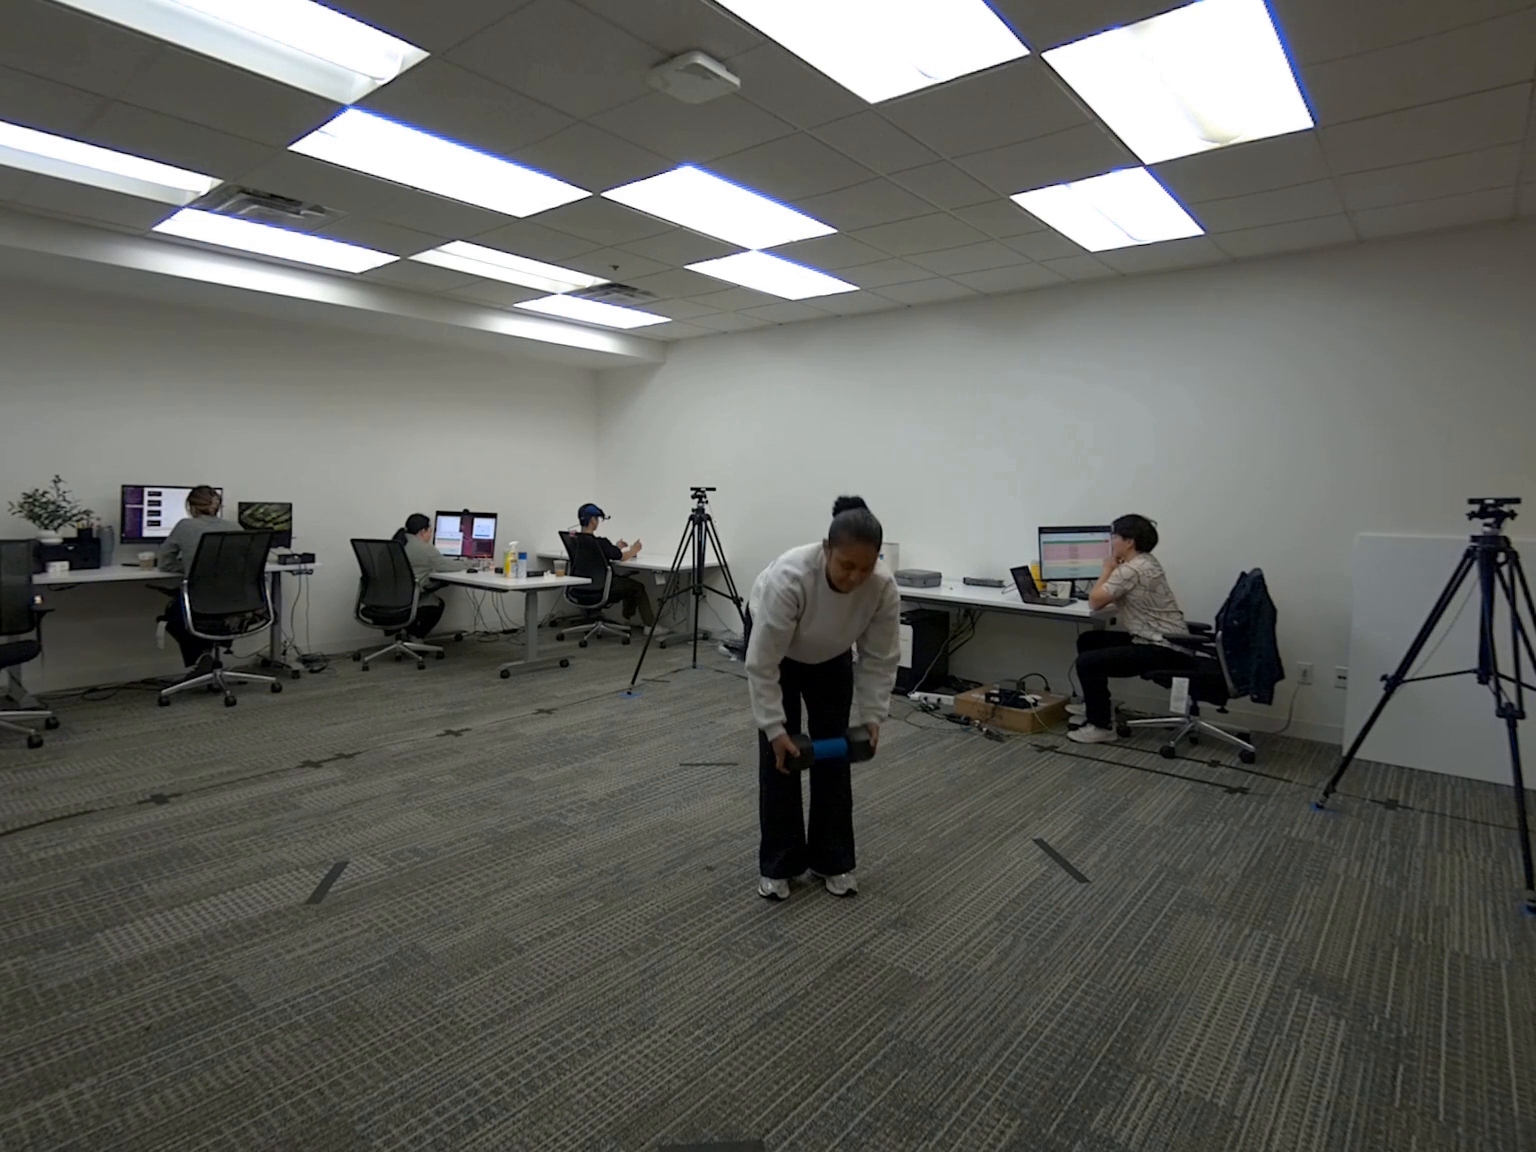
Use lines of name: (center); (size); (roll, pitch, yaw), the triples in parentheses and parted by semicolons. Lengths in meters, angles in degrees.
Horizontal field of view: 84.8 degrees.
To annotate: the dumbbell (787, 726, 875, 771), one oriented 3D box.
dumbbell: (0.190, 0.562, 2.794); (0.290, 0.106, 0.127); (-6, 35, -12)
